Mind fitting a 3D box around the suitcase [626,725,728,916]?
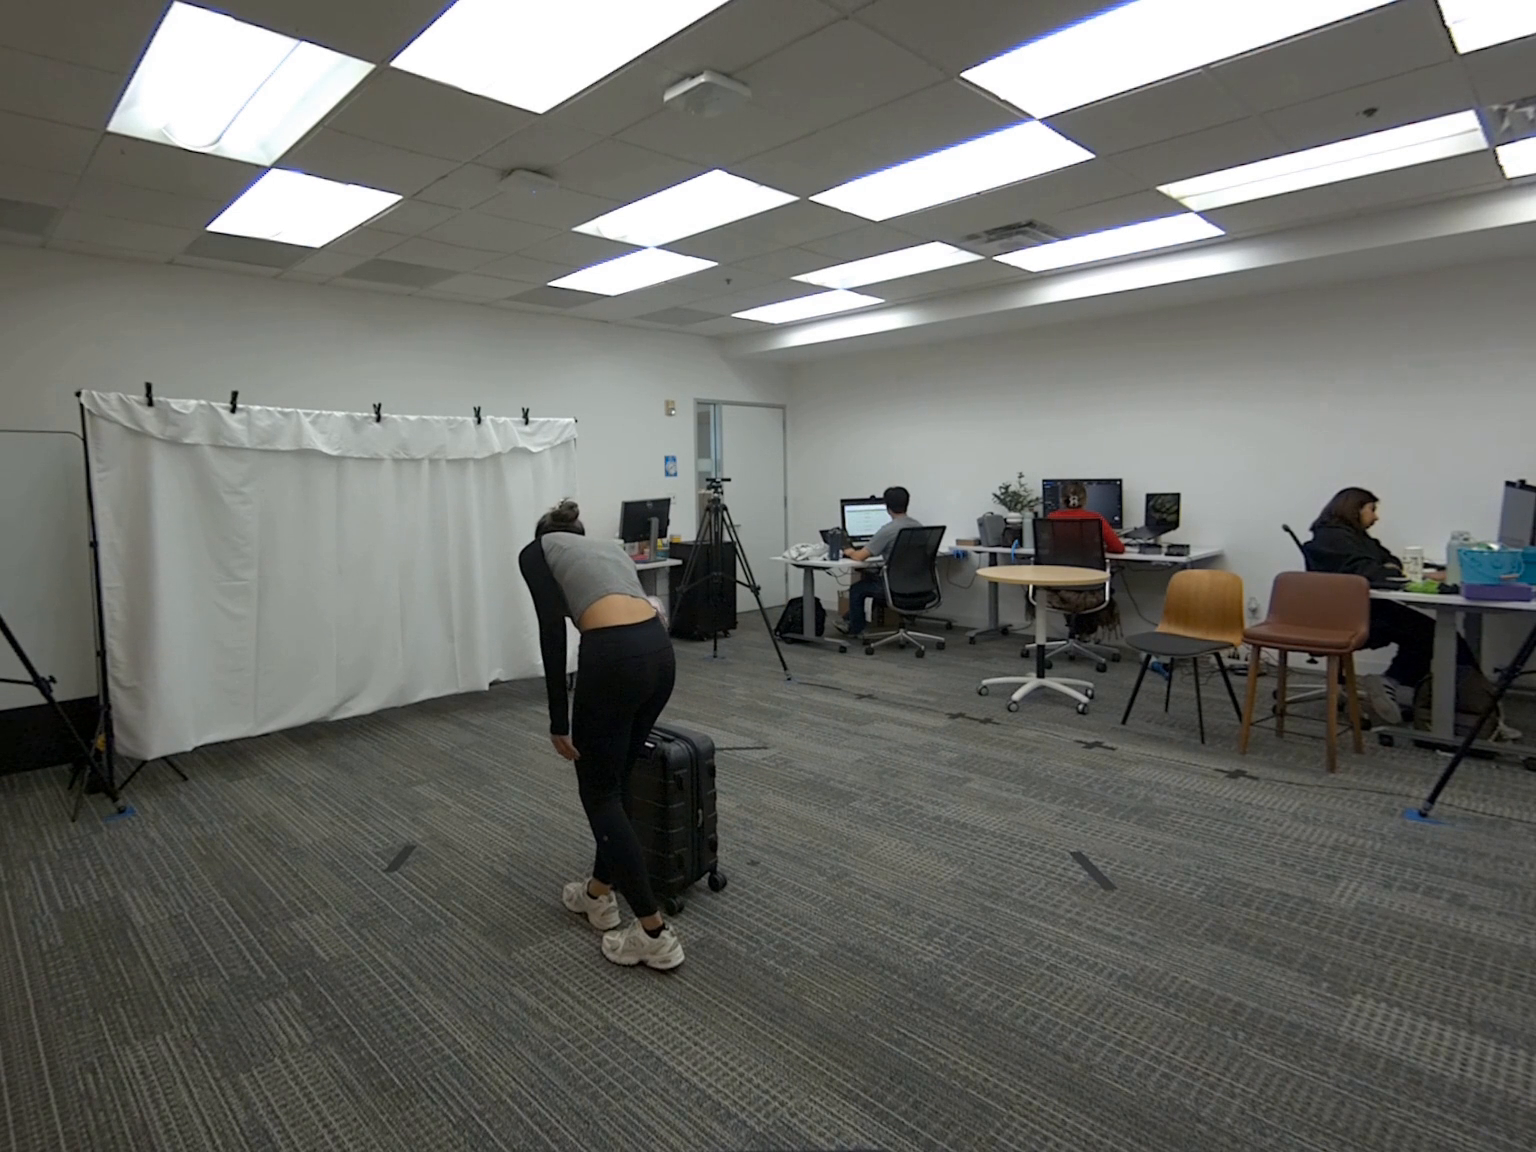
[{"bbox_3d":[-0.365,0.792,2.929,0.386,0.548,0.241,1,3,40],"label":"suitcase"}]
